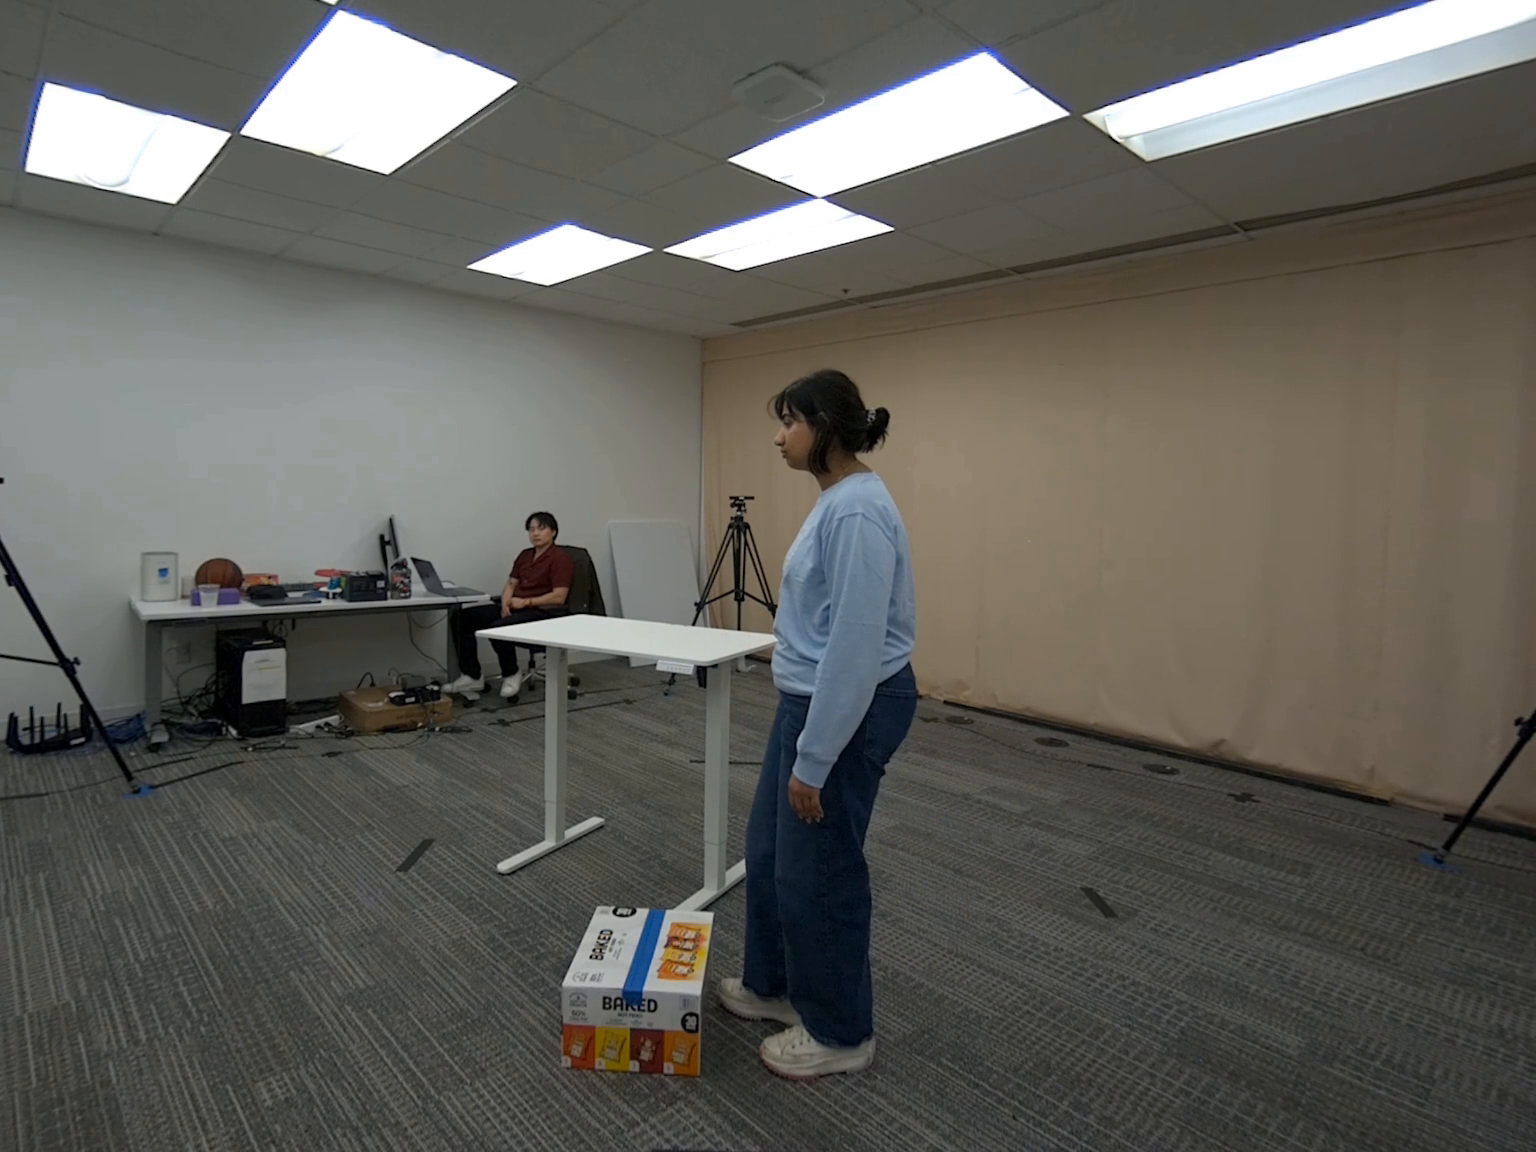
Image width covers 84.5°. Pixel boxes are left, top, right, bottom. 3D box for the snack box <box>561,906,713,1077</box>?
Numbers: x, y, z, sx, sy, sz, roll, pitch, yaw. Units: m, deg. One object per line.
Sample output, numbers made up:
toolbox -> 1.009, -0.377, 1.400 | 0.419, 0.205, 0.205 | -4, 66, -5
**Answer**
snack box -> -0.330, 1.074, 2.230 | 0.341, 0.205, 0.405 | 2, 5, 2
